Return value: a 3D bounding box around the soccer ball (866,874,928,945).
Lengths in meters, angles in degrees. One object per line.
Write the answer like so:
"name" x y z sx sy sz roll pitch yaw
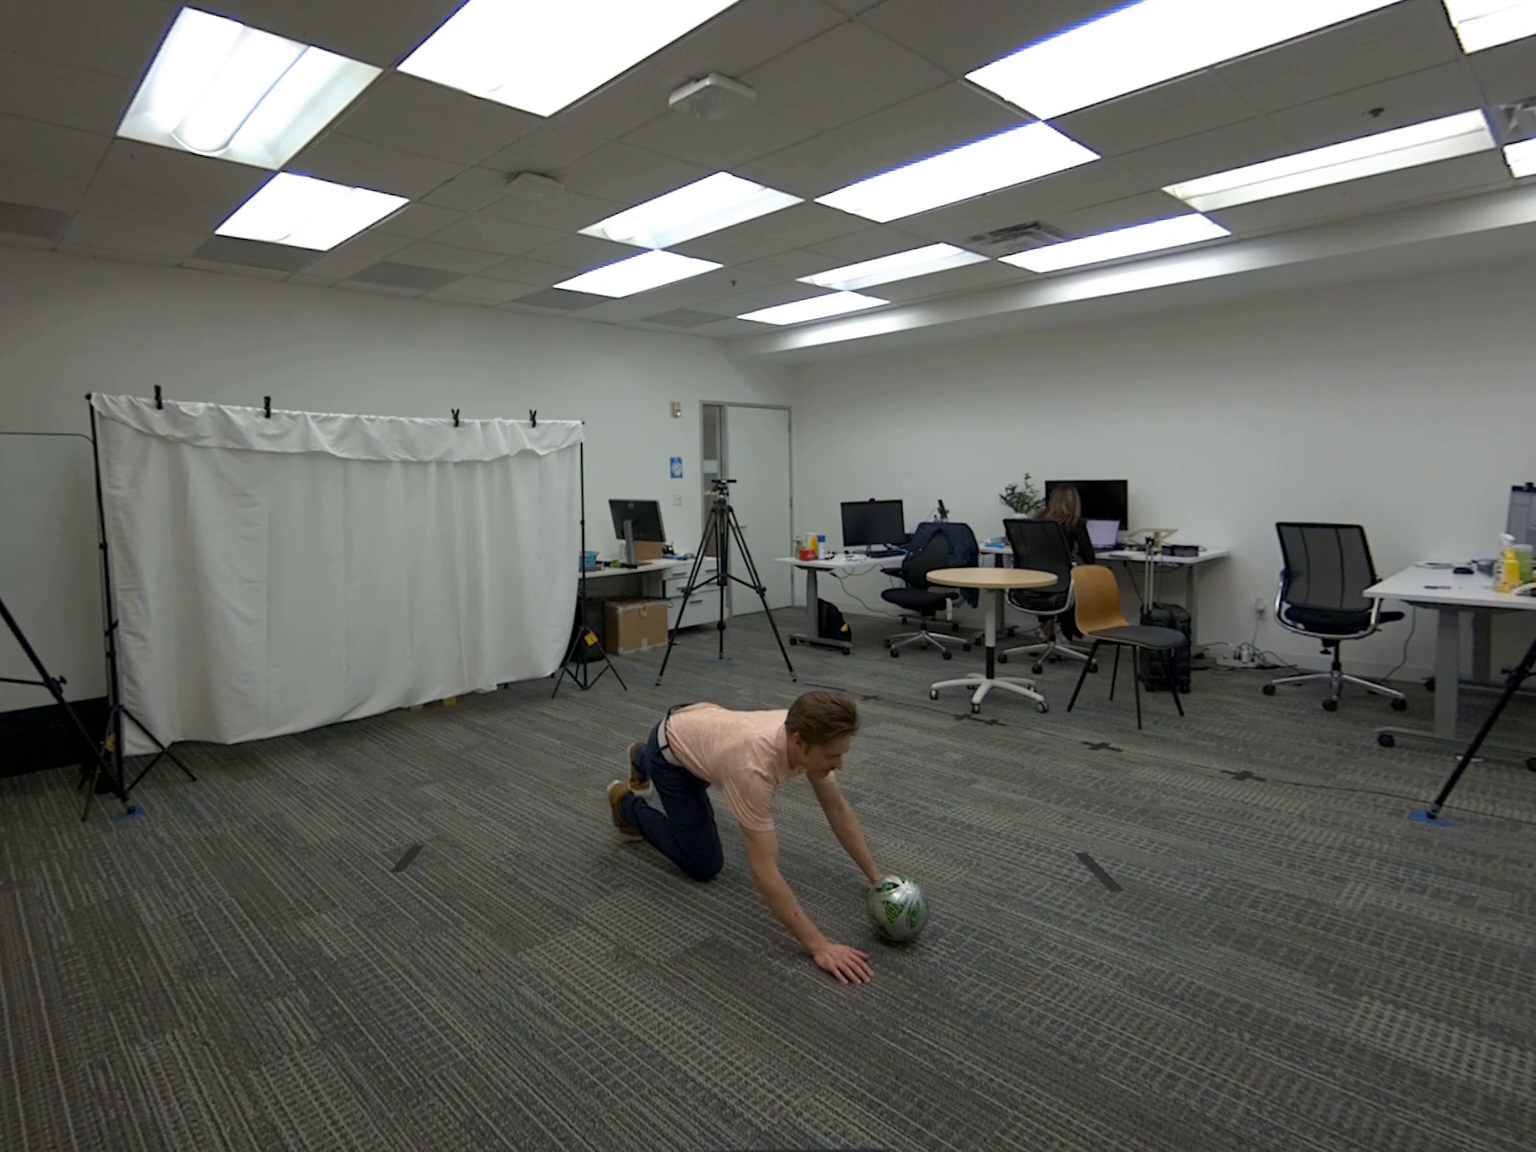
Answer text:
"soccer ball" 0.396 1.004 2.585 0.187 0.187 0.188 -1 5 -2
